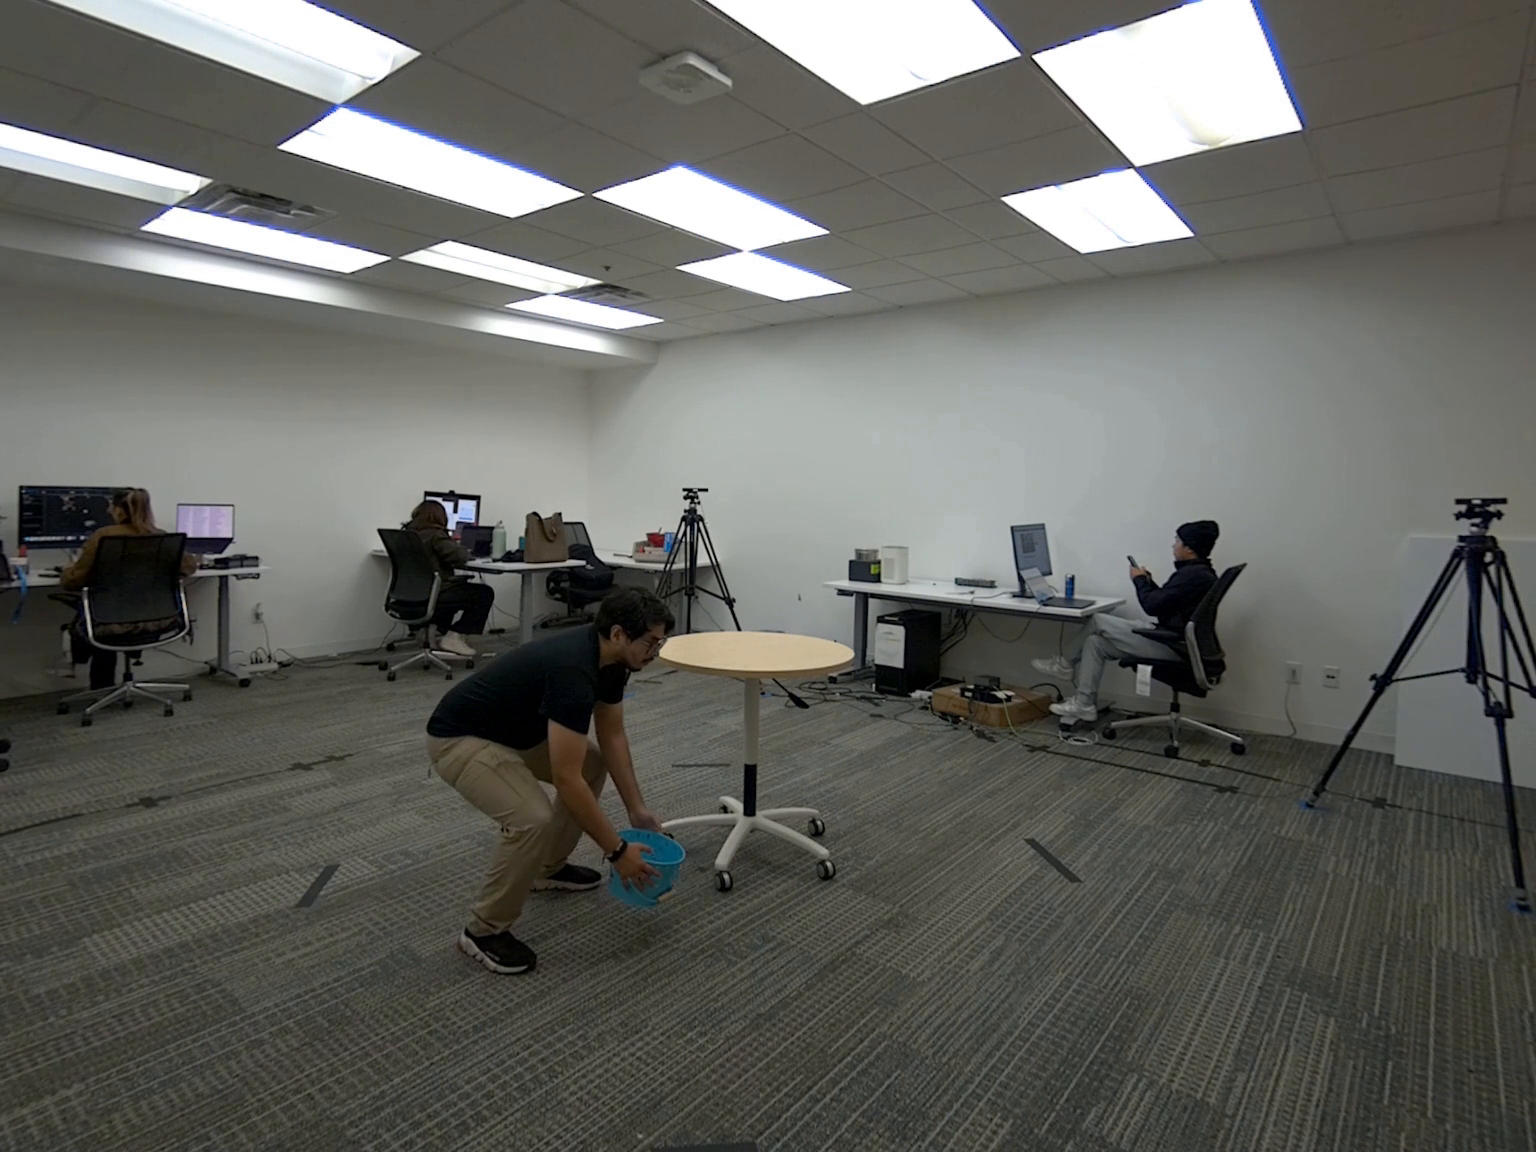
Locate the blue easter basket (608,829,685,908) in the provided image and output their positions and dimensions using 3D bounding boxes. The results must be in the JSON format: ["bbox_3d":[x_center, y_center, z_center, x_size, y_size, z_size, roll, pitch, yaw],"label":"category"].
[{"bbox_3d":[-0.402,0.908,2.622,0.243,0.155,0.245,12,4,-3],"label":"blue easter basket"}]
